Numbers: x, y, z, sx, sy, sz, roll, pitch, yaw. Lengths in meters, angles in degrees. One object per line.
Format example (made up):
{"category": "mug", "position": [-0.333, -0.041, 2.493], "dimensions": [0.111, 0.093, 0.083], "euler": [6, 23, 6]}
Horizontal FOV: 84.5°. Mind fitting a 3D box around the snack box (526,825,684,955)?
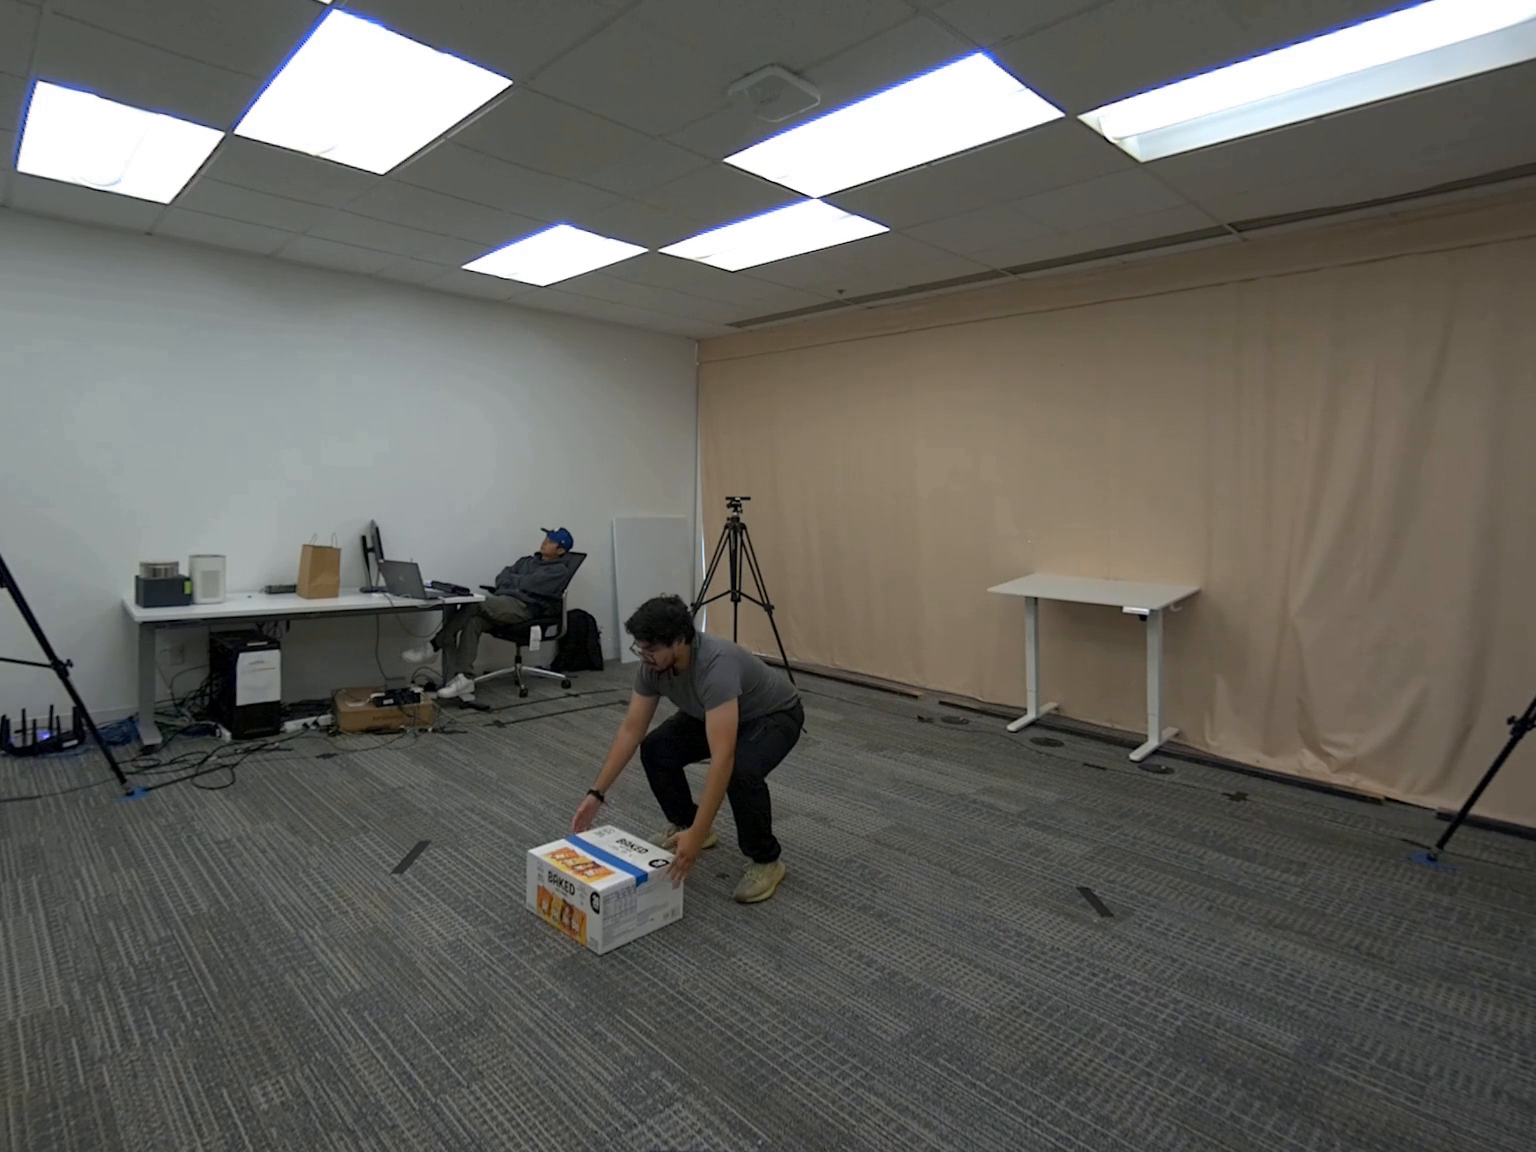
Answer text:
{"category": "snack box", "position": [-0.550, 1.028, 2.784], "dimensions": [0.415, 0.205, 0.332], "euler": [6, 7, 43]}
